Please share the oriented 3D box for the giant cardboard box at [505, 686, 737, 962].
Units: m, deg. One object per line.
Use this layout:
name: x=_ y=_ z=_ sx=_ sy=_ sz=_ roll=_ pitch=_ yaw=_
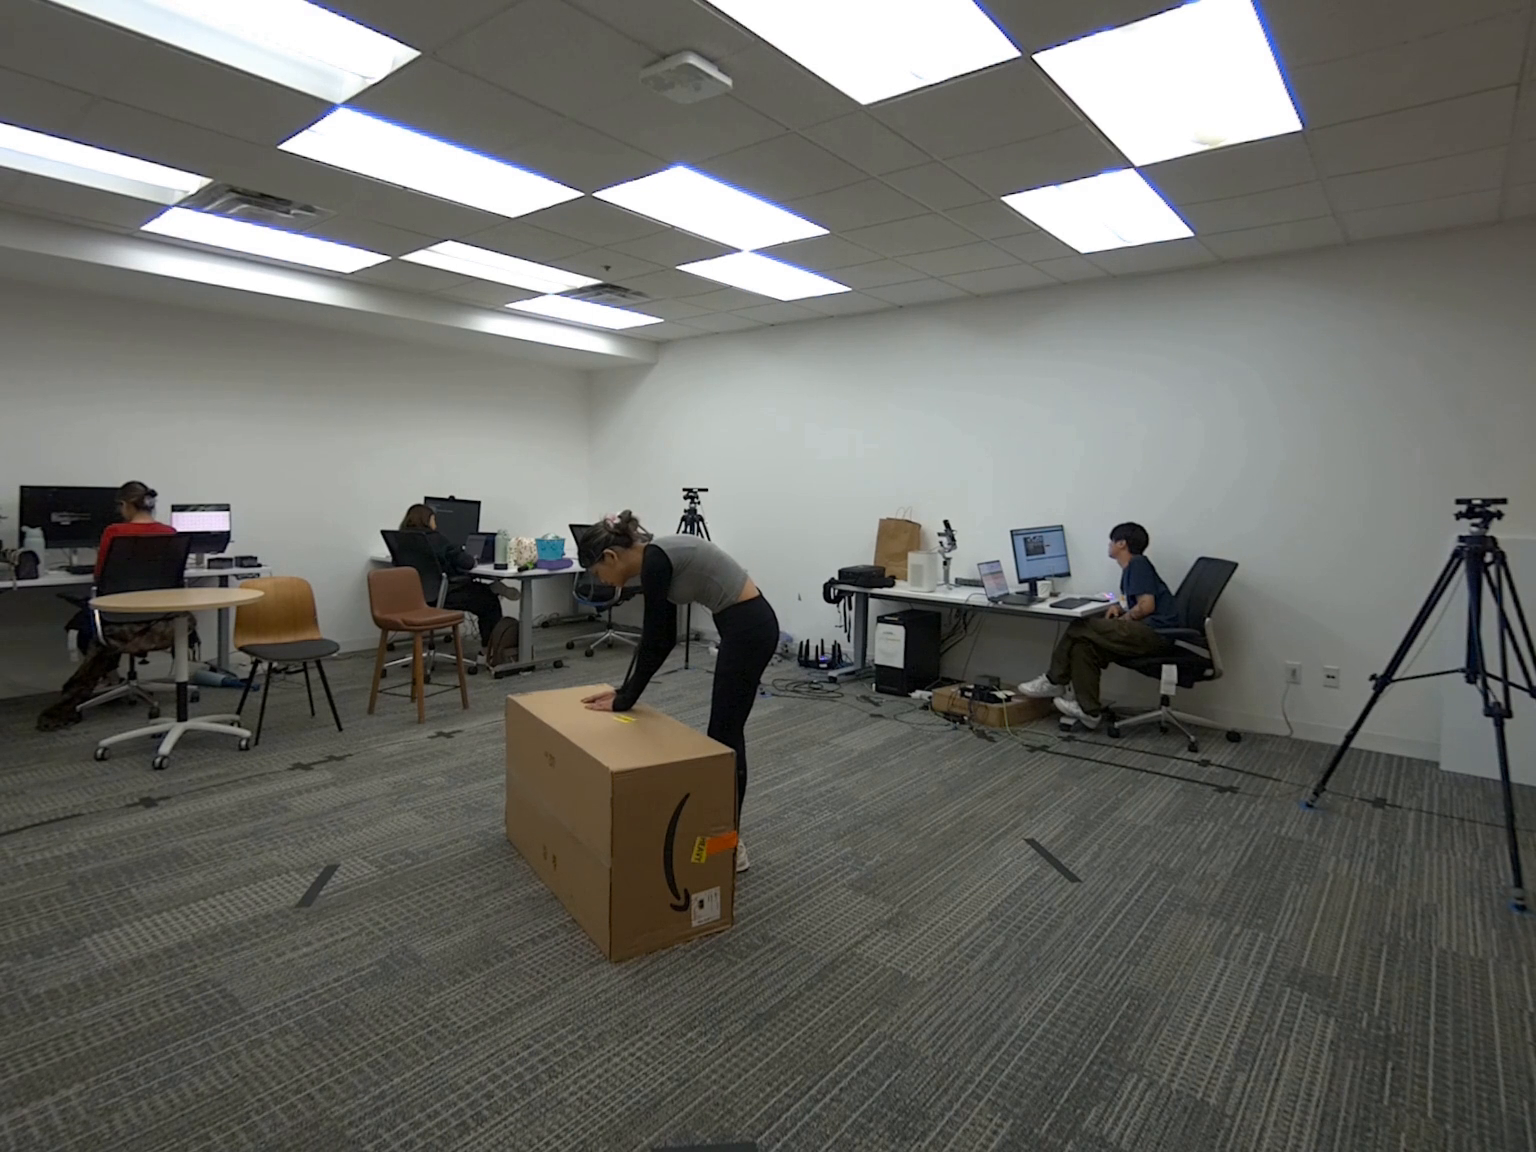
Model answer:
giant cardboard box: x=-0.575 y=0.785 z=3.000 sx=0.414 sy=0.575 sz=1.059 roll=-1 pitch=6 yaw=-33
